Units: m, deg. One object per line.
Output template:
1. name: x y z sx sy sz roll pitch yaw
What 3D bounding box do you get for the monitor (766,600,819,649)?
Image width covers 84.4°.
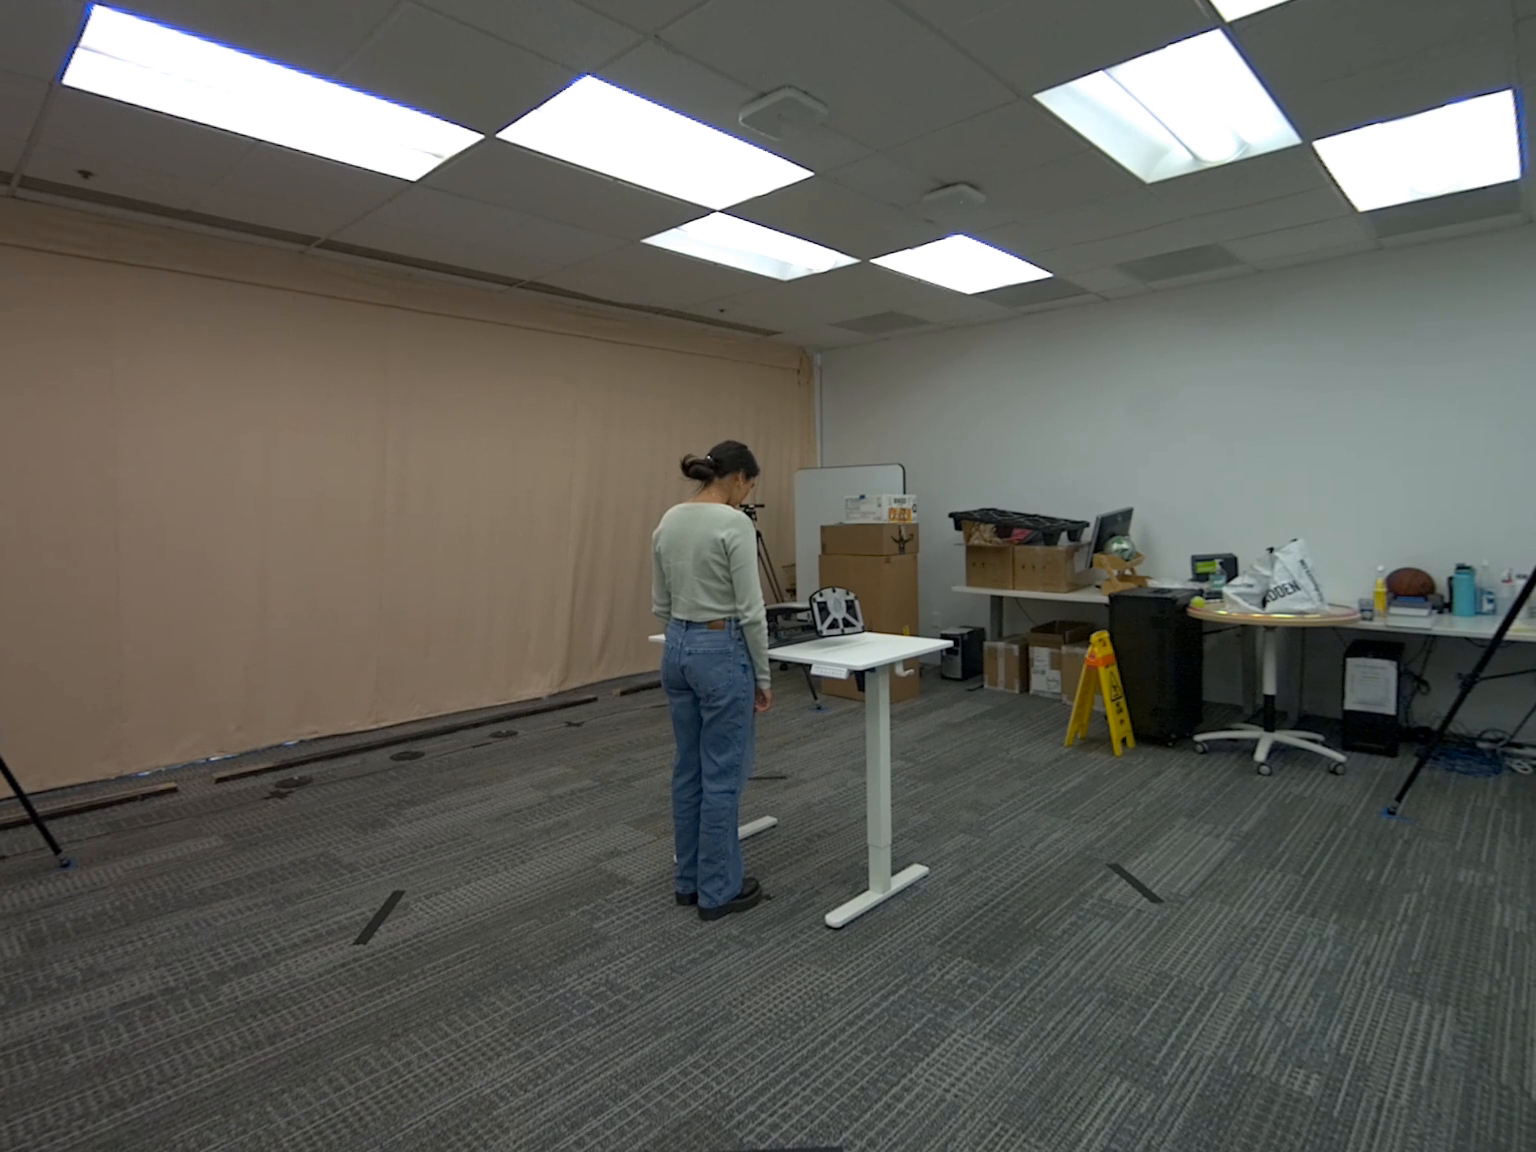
1. monitor: 0.068 0.180 3.170 0.536 0.188 0.522 -15 -10 42
